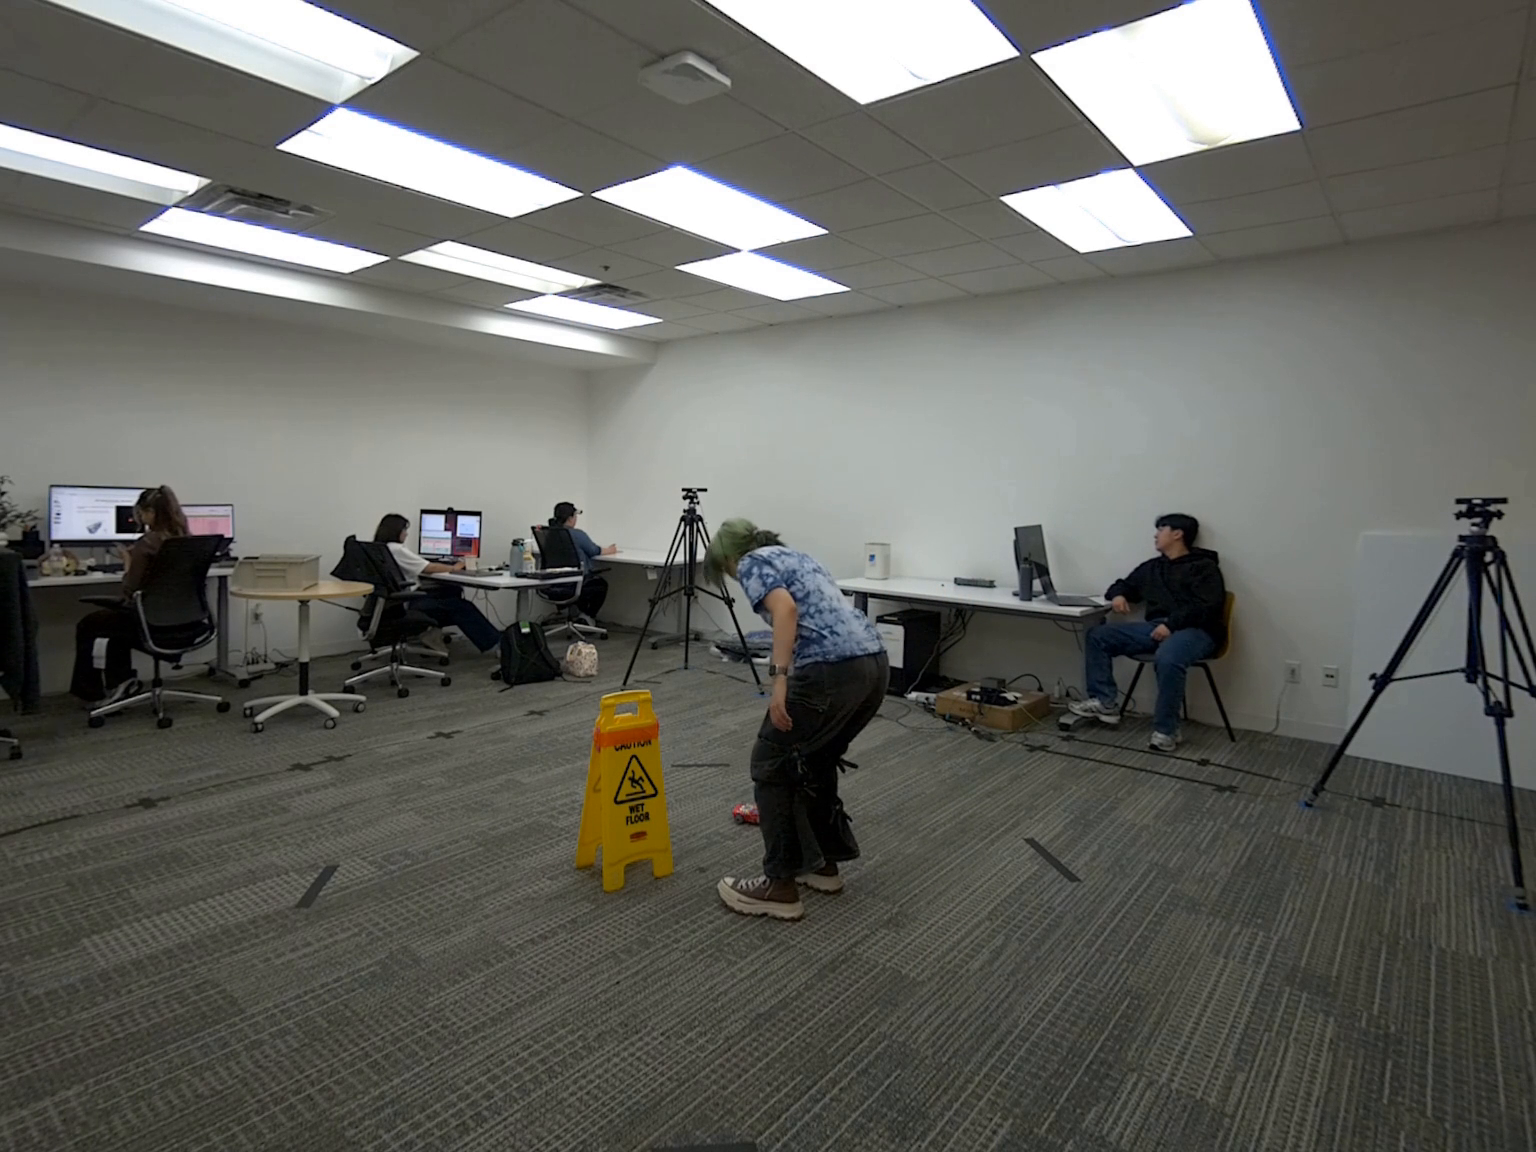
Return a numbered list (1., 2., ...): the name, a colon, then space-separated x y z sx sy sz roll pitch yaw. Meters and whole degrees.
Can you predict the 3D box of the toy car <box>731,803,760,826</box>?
1. toy car: -0.024 0.996 3.565 0.258 0.083 0.128 -8 2 17
